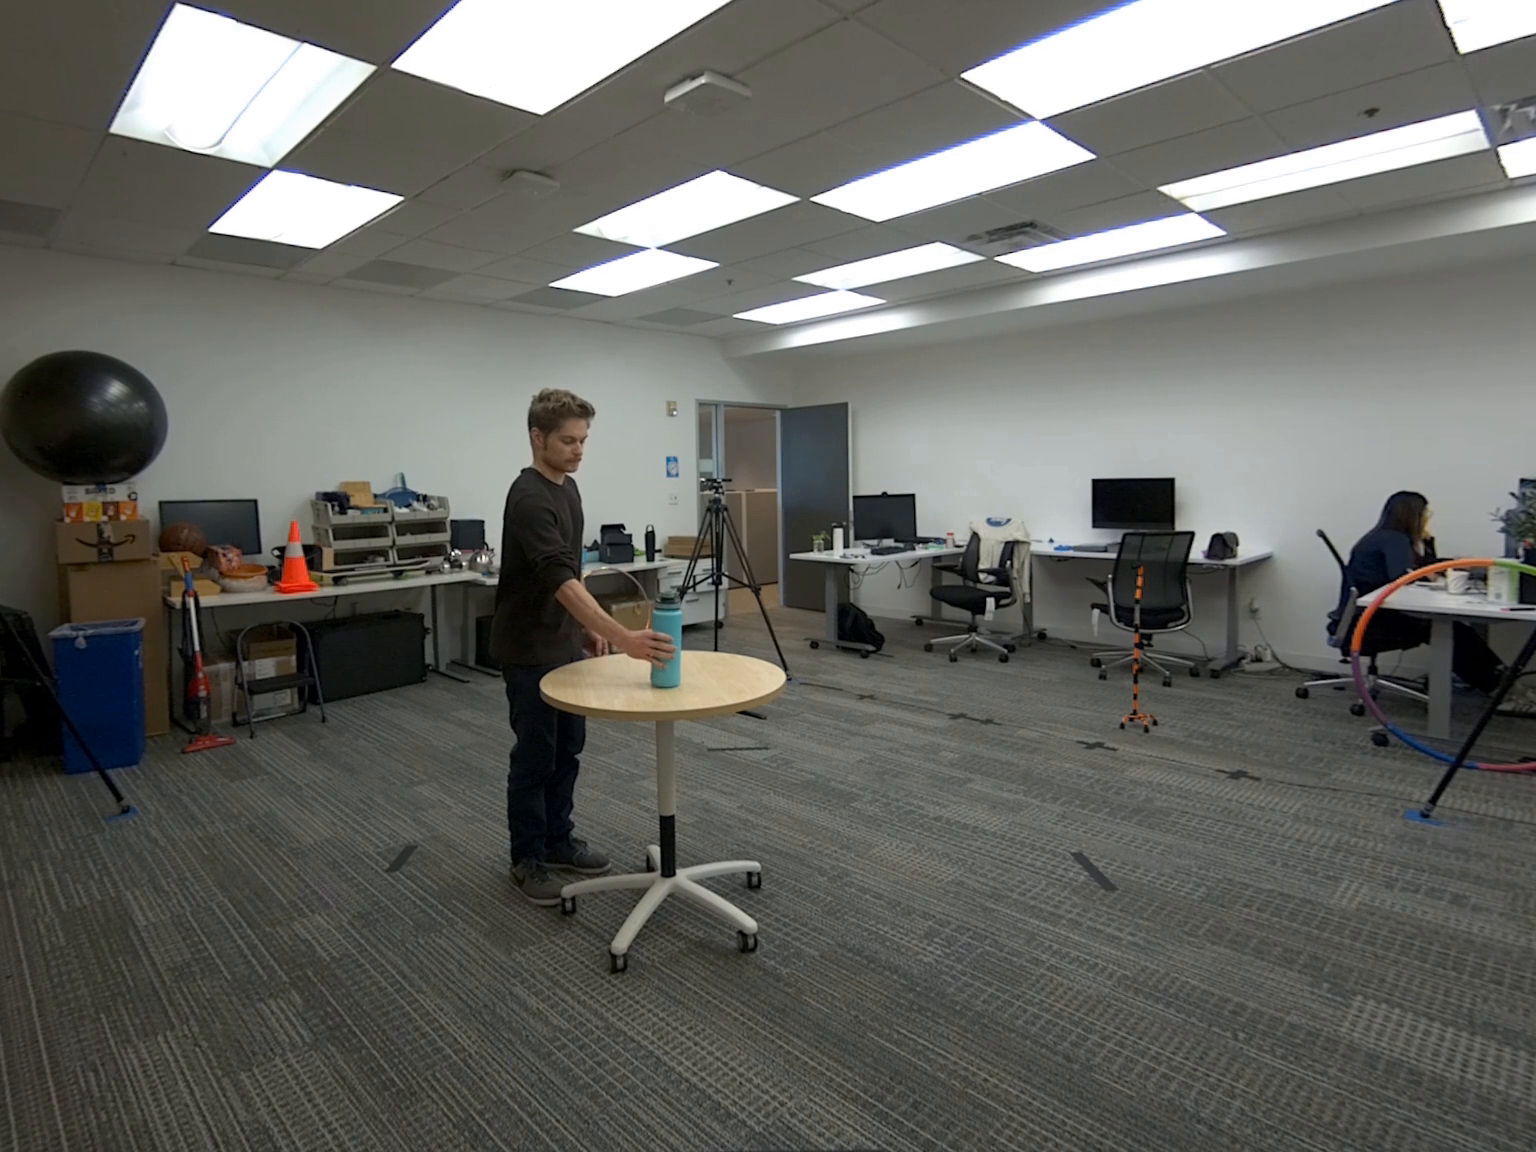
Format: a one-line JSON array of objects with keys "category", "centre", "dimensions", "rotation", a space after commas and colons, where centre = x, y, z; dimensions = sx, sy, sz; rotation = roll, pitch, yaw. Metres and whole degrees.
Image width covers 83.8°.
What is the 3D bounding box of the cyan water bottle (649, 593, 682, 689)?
[{"category": "cyan water bottle", "centre": [-0.306, 0.179, 2.565], "dimensions": [0.092, 0.282, 0.093], "rotation": [1, 5, -2]}]
